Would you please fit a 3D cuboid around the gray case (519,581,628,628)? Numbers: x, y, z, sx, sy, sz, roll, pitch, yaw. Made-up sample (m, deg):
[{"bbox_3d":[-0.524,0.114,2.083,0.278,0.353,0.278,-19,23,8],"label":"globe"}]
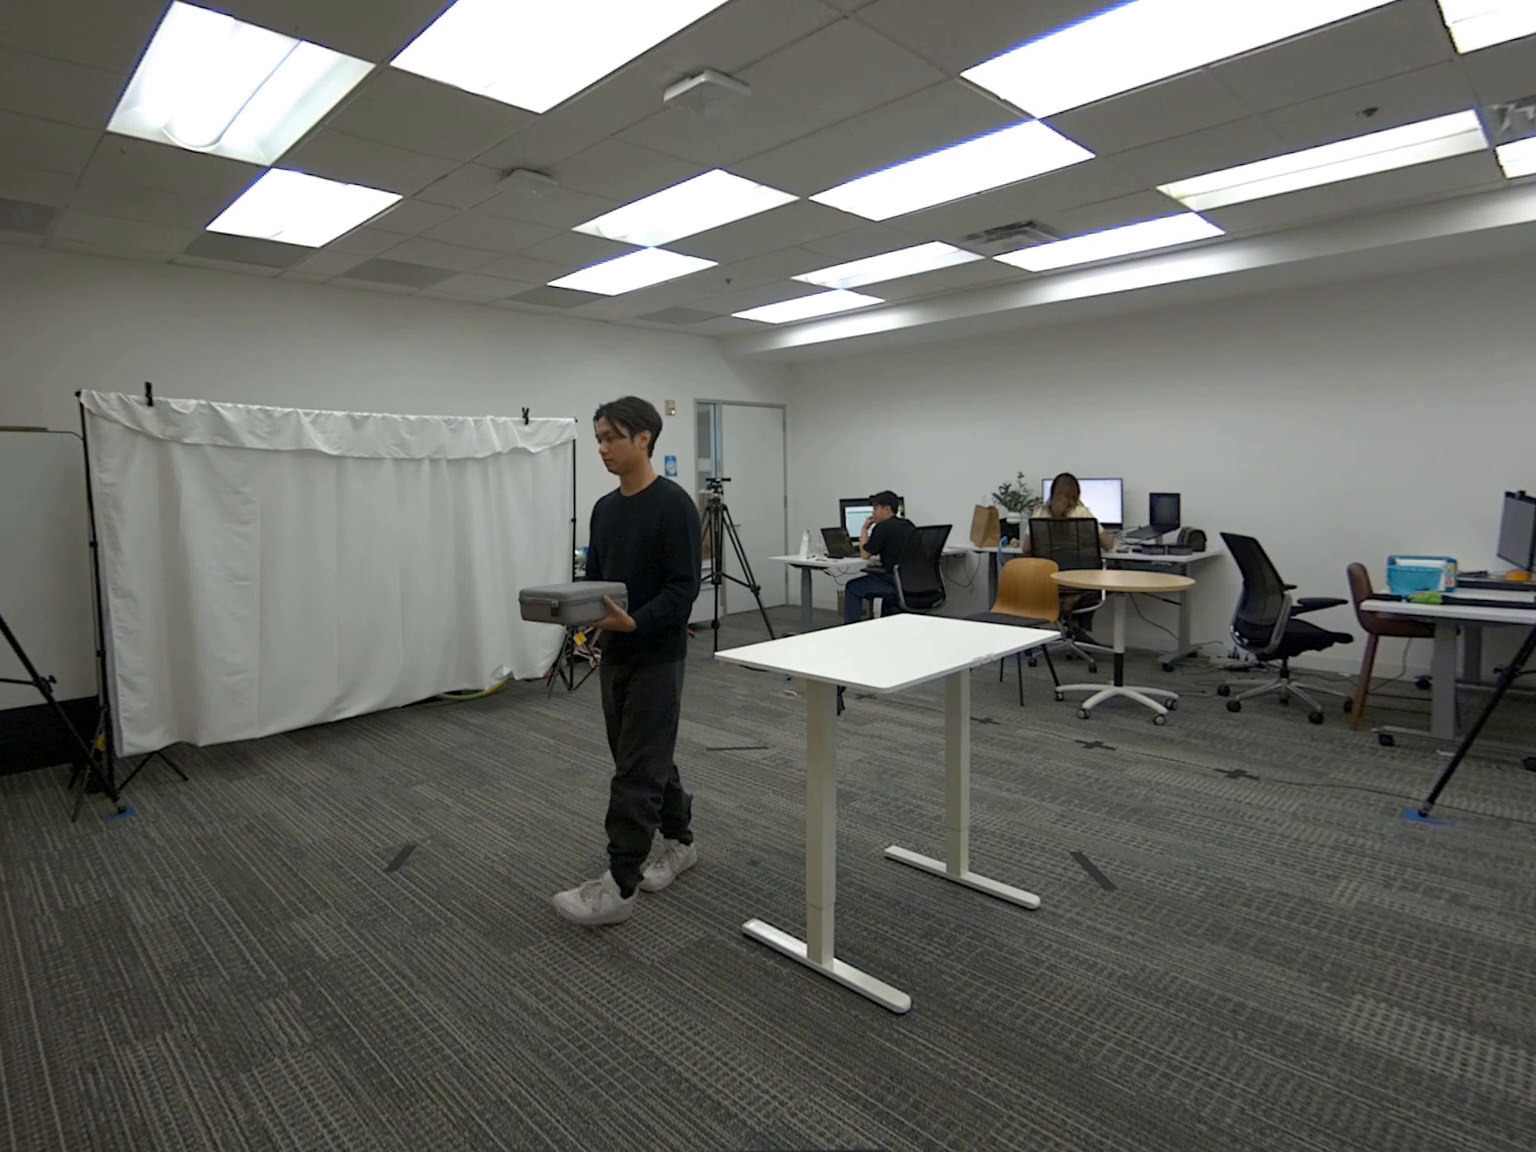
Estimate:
[{"bbox_3d":[-0.606,0.076,2.621,0.268,0.104,0.250,2,7,42],"label":"gray case"}]
